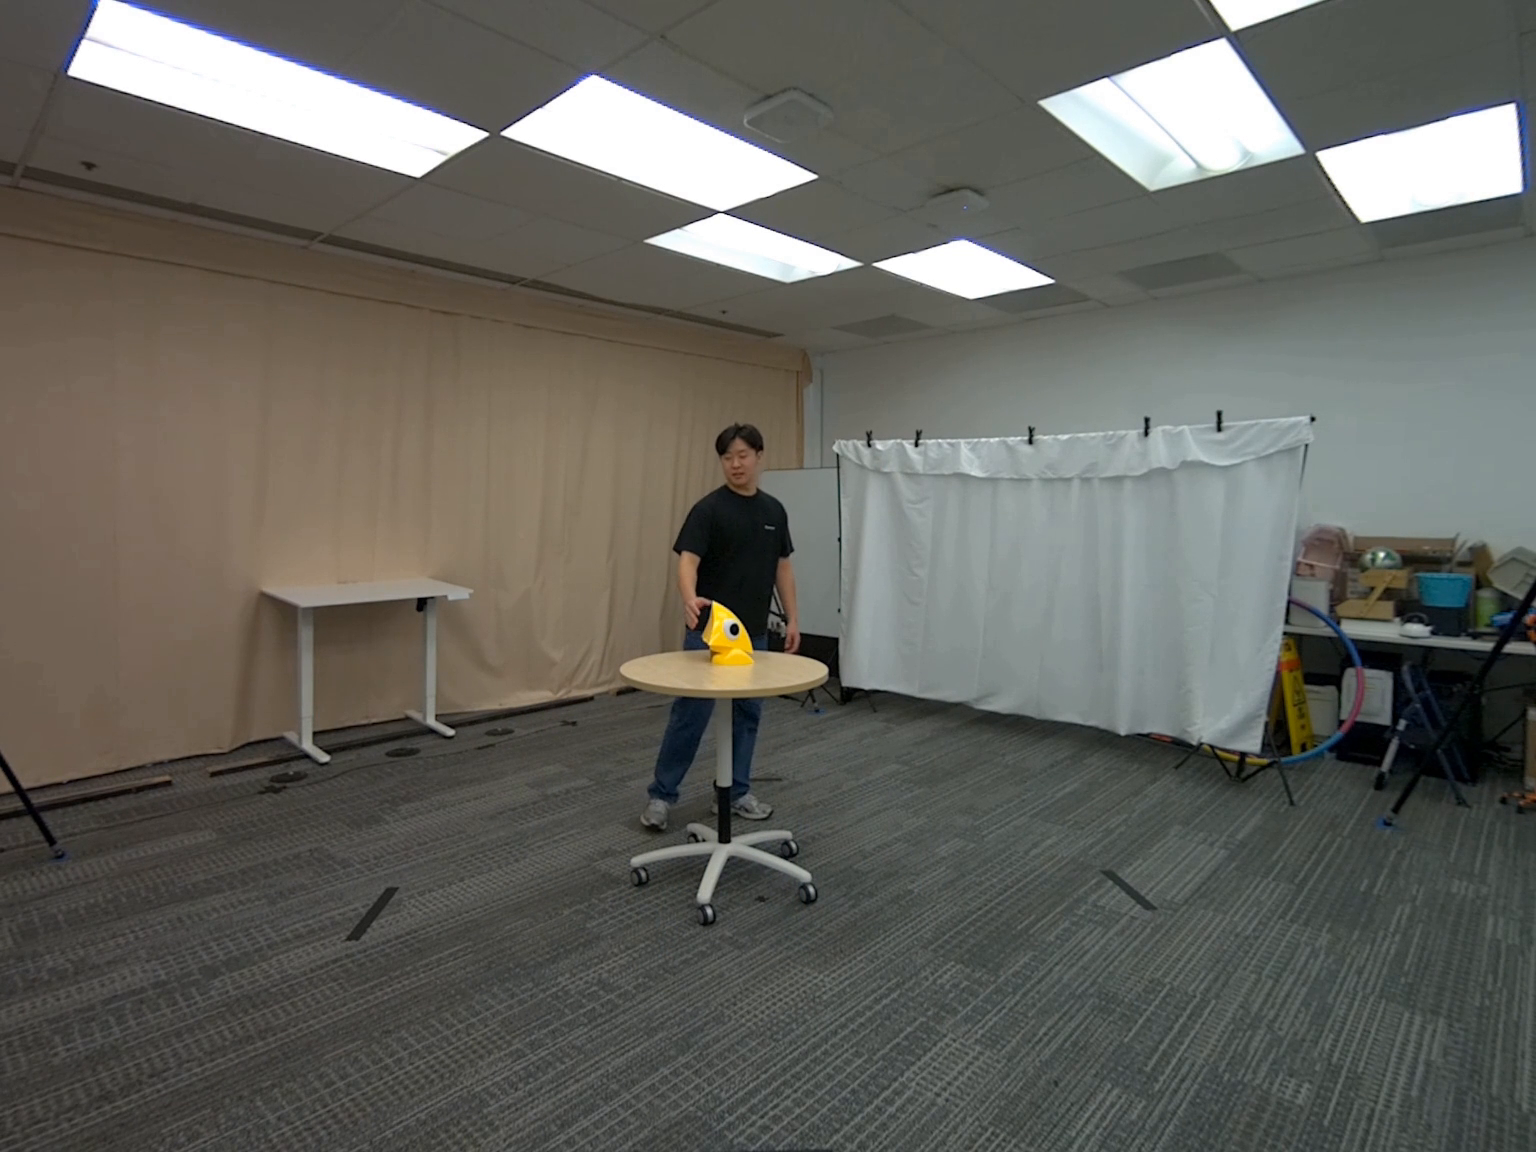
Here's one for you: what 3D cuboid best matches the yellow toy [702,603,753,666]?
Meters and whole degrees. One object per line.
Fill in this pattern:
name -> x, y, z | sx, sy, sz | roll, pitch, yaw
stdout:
yellow toy -> -0.149, 0.211, 3.249 | 0.191, 0.230, 0.207 | -1, 3, -10
